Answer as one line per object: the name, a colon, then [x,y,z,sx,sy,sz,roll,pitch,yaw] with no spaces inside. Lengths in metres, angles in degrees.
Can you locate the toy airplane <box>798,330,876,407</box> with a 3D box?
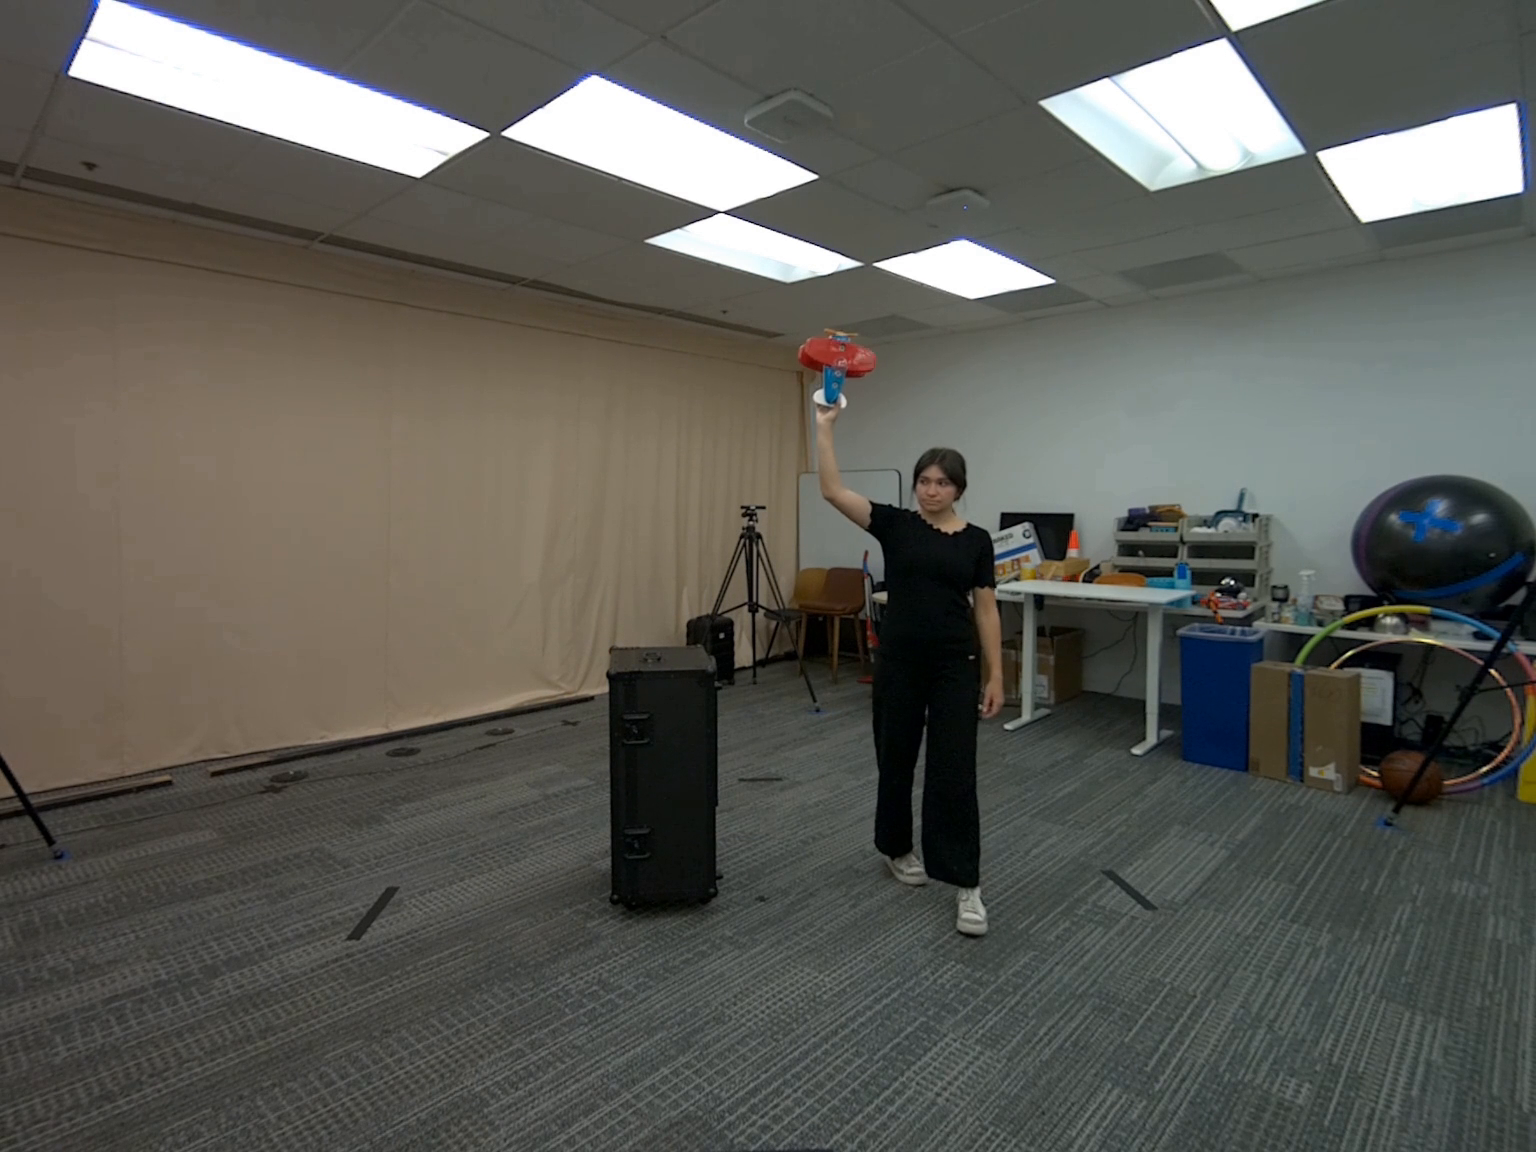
toy airplane: [0.254,-0.717,2.937,0.247,0.262,0.157,-19,-13,-18]
